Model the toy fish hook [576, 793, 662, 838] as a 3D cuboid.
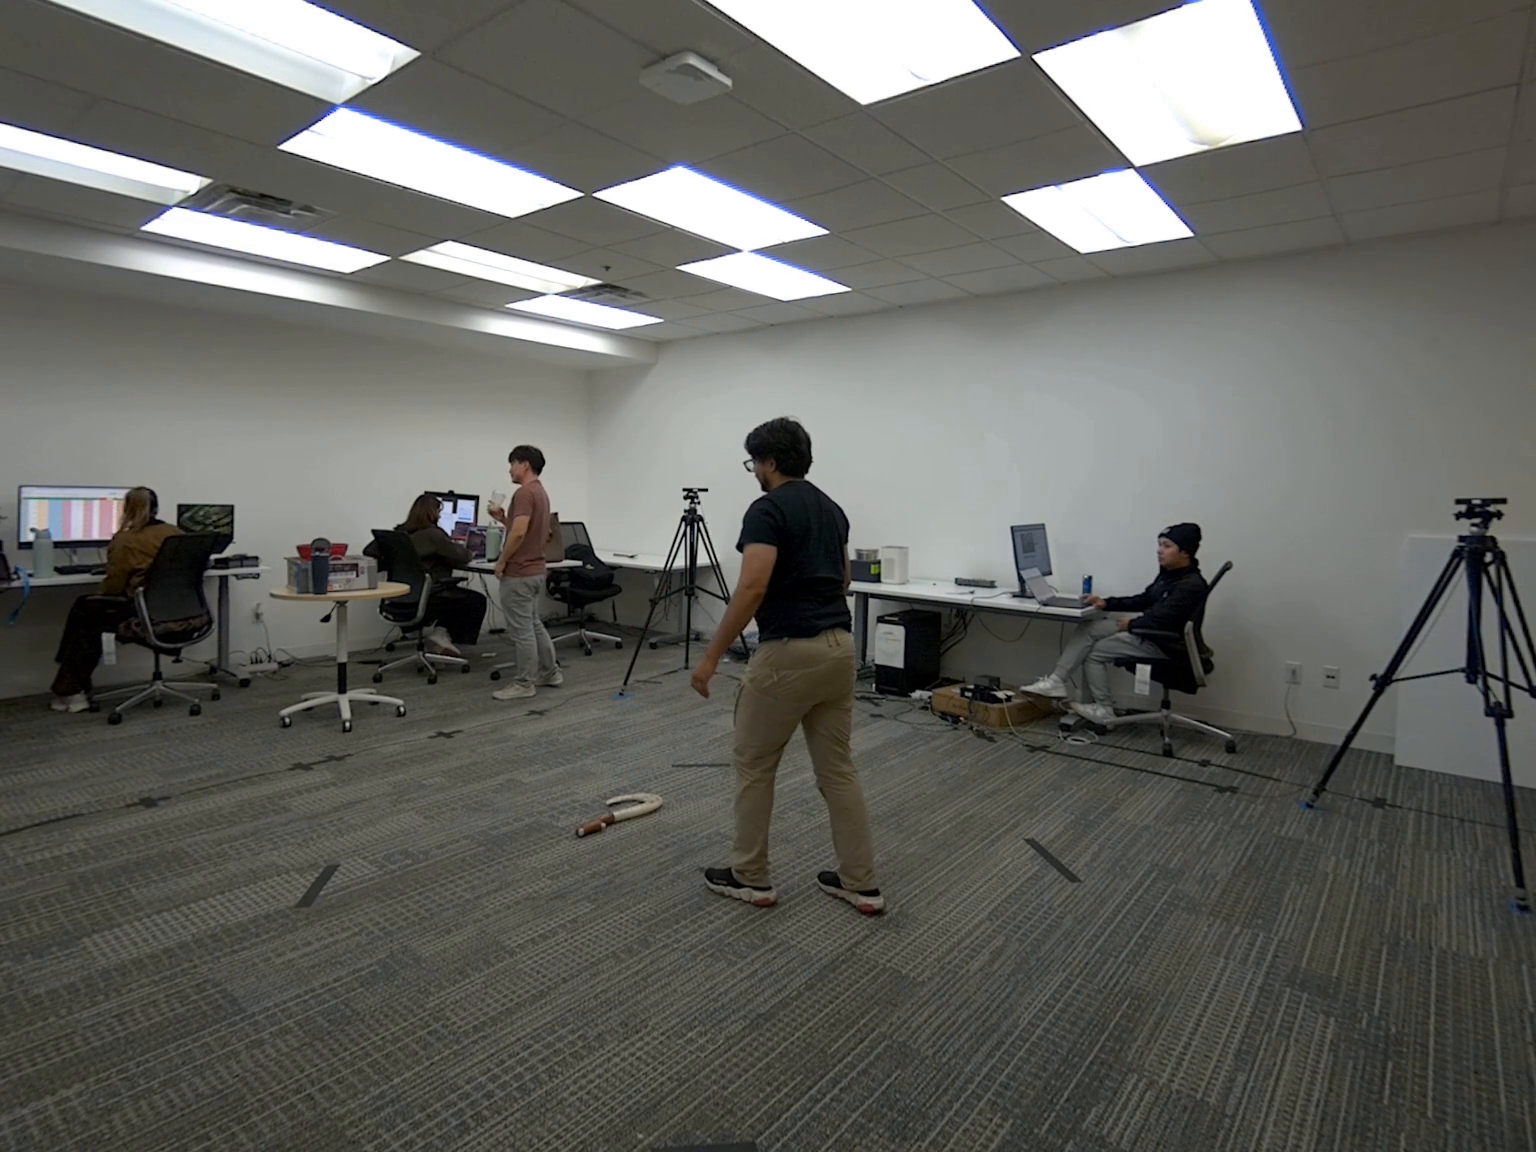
[{"bbox_3d":[-0.669,1.001,3.597,0.231,0.048,0.492,-4,1,35],"label":"toy fish hook"}]
